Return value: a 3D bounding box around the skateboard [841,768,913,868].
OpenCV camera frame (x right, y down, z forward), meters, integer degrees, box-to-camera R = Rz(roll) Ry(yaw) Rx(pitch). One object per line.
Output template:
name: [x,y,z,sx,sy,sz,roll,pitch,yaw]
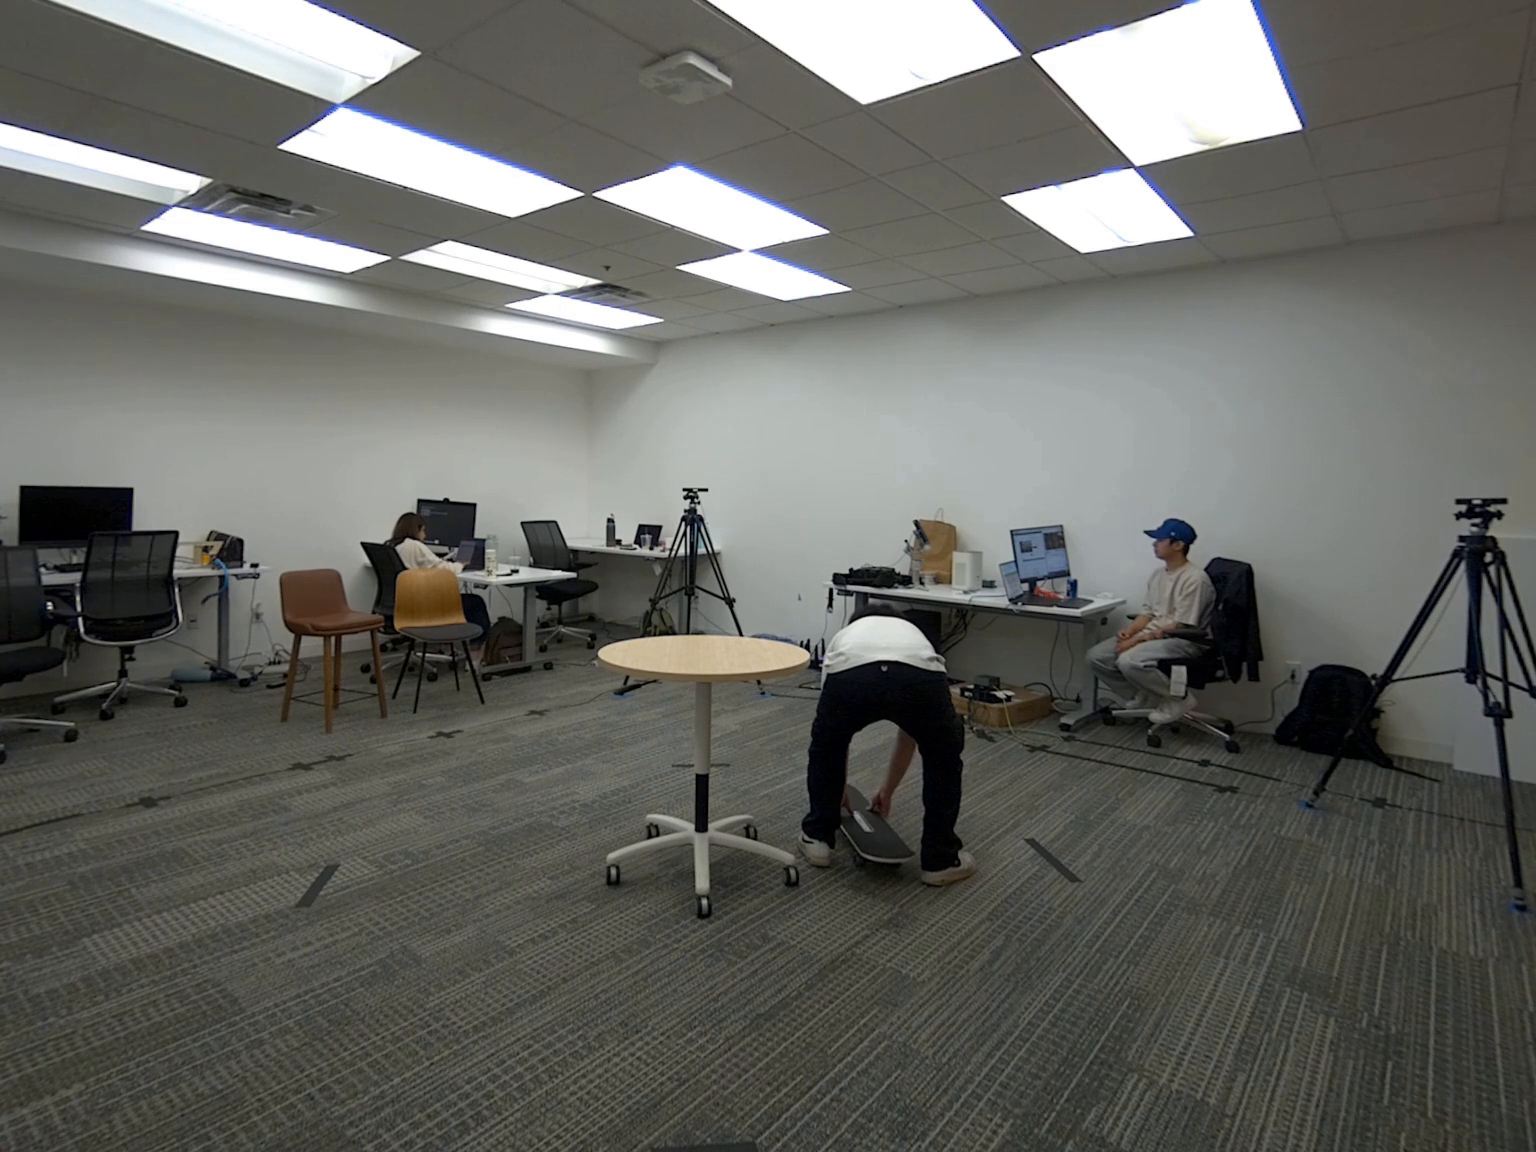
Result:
skateboard: [0.362,0.999,3.371,0.192,0.110,0.796,-1,7,-10]
